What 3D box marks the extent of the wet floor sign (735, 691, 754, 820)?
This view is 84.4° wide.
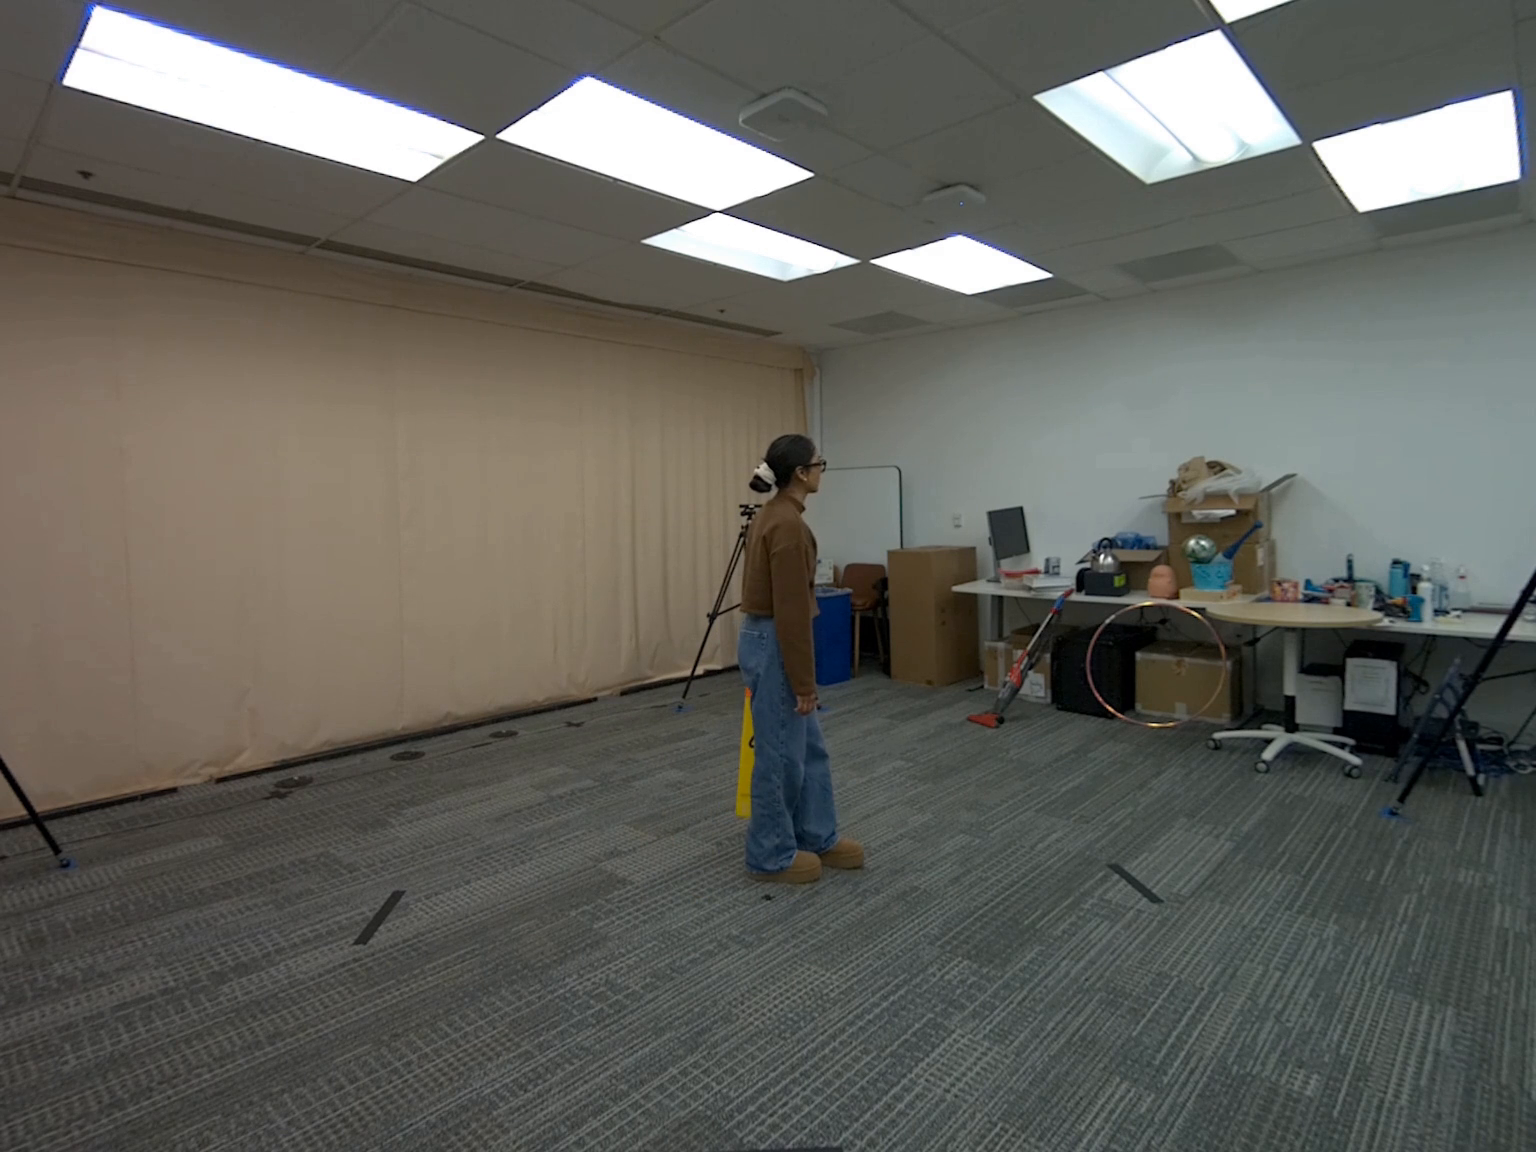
[{"bbox_3d":[0.031,0.649,3.468,0.290,0.643,0.283,-1,6,29],"label":"wet floor sign"}]
